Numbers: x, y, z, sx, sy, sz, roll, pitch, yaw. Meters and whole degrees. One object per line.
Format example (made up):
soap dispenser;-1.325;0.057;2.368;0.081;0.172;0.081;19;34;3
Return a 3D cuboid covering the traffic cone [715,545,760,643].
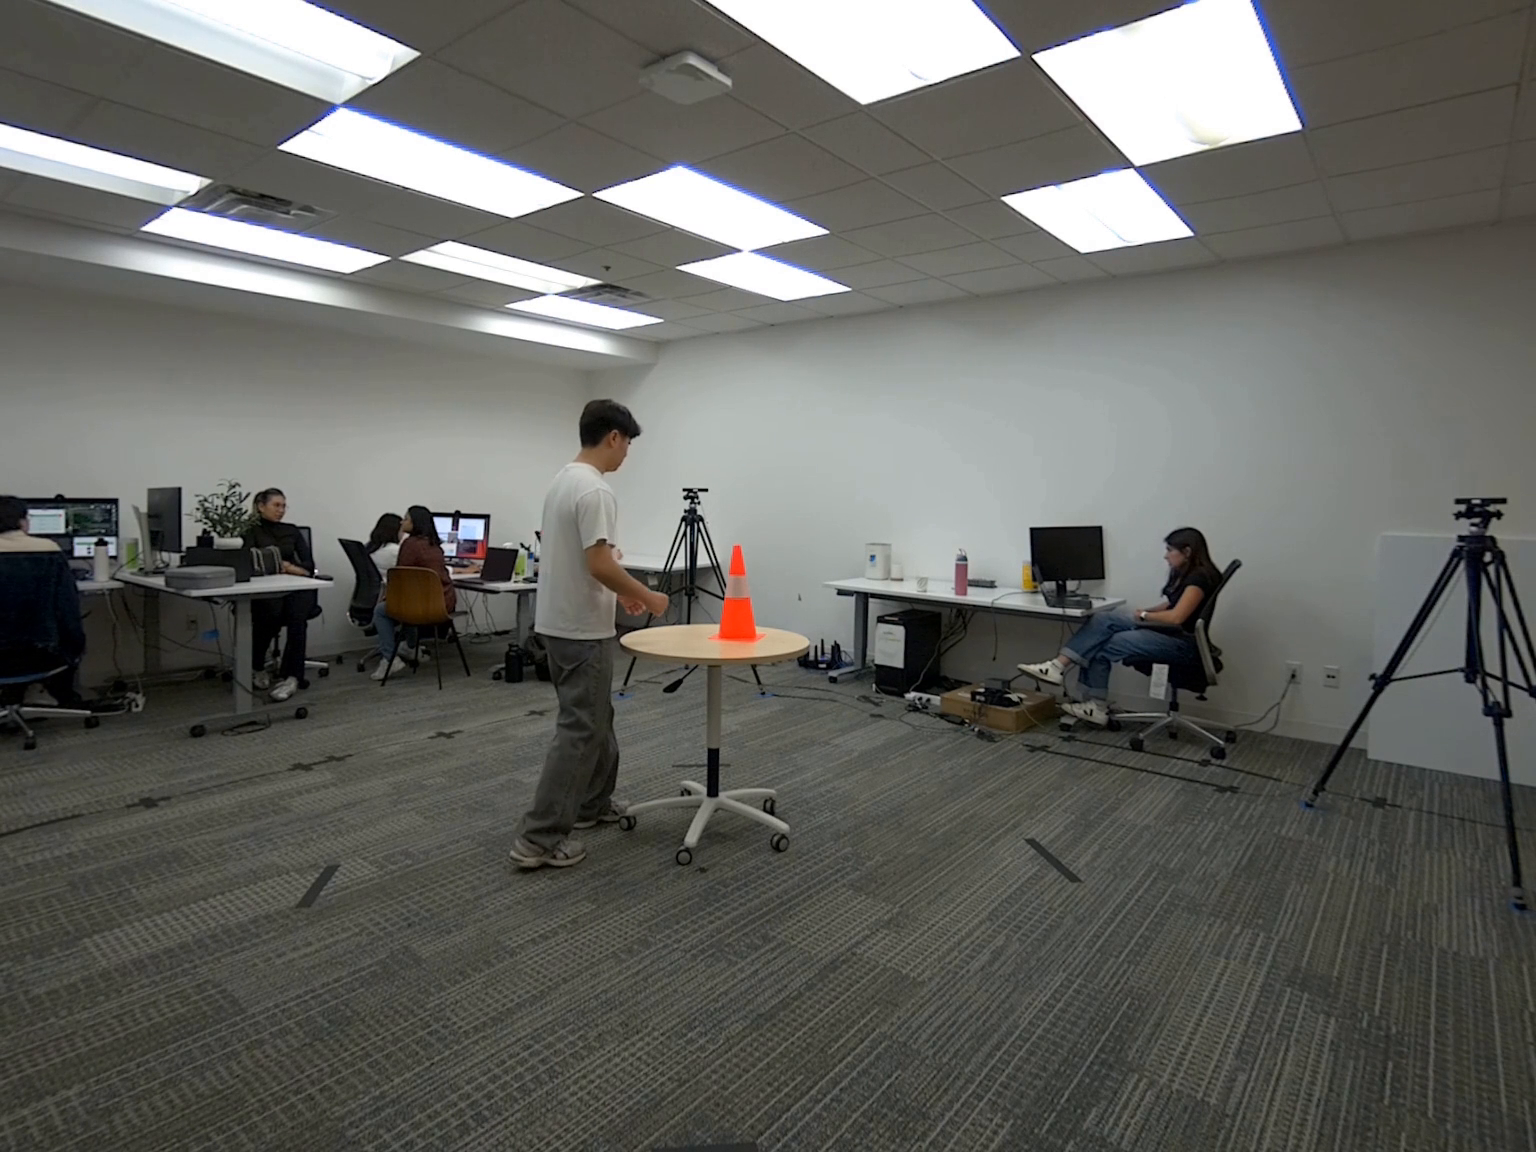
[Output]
traffic cone;-0.129;0.061;3.497;0.209;0.382;0.200;2;4;19
